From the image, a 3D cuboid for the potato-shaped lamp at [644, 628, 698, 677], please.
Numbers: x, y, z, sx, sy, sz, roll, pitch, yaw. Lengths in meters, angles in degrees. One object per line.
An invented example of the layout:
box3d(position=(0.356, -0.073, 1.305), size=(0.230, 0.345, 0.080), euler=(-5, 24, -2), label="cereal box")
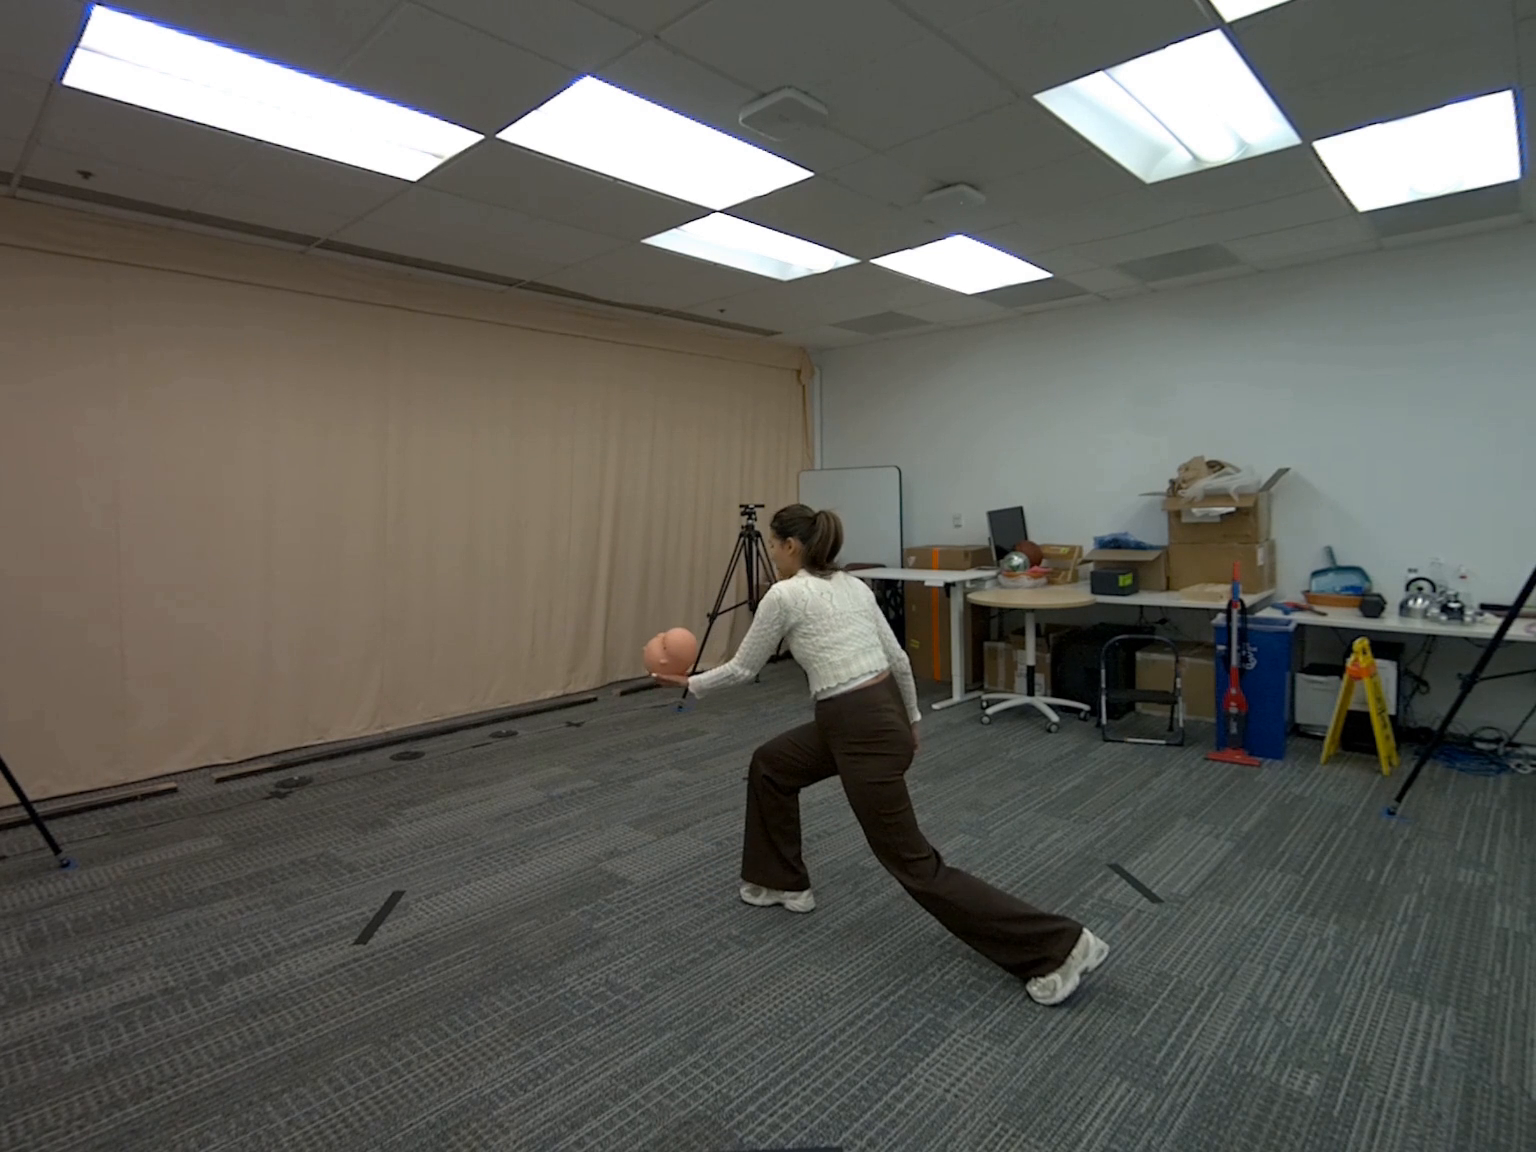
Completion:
box3d(position=(-0.343, 0.269, 2.996), size=(0.166, 0.168, 0.199), euler=(13, -42, -30), label="potato-shaped lamp")
